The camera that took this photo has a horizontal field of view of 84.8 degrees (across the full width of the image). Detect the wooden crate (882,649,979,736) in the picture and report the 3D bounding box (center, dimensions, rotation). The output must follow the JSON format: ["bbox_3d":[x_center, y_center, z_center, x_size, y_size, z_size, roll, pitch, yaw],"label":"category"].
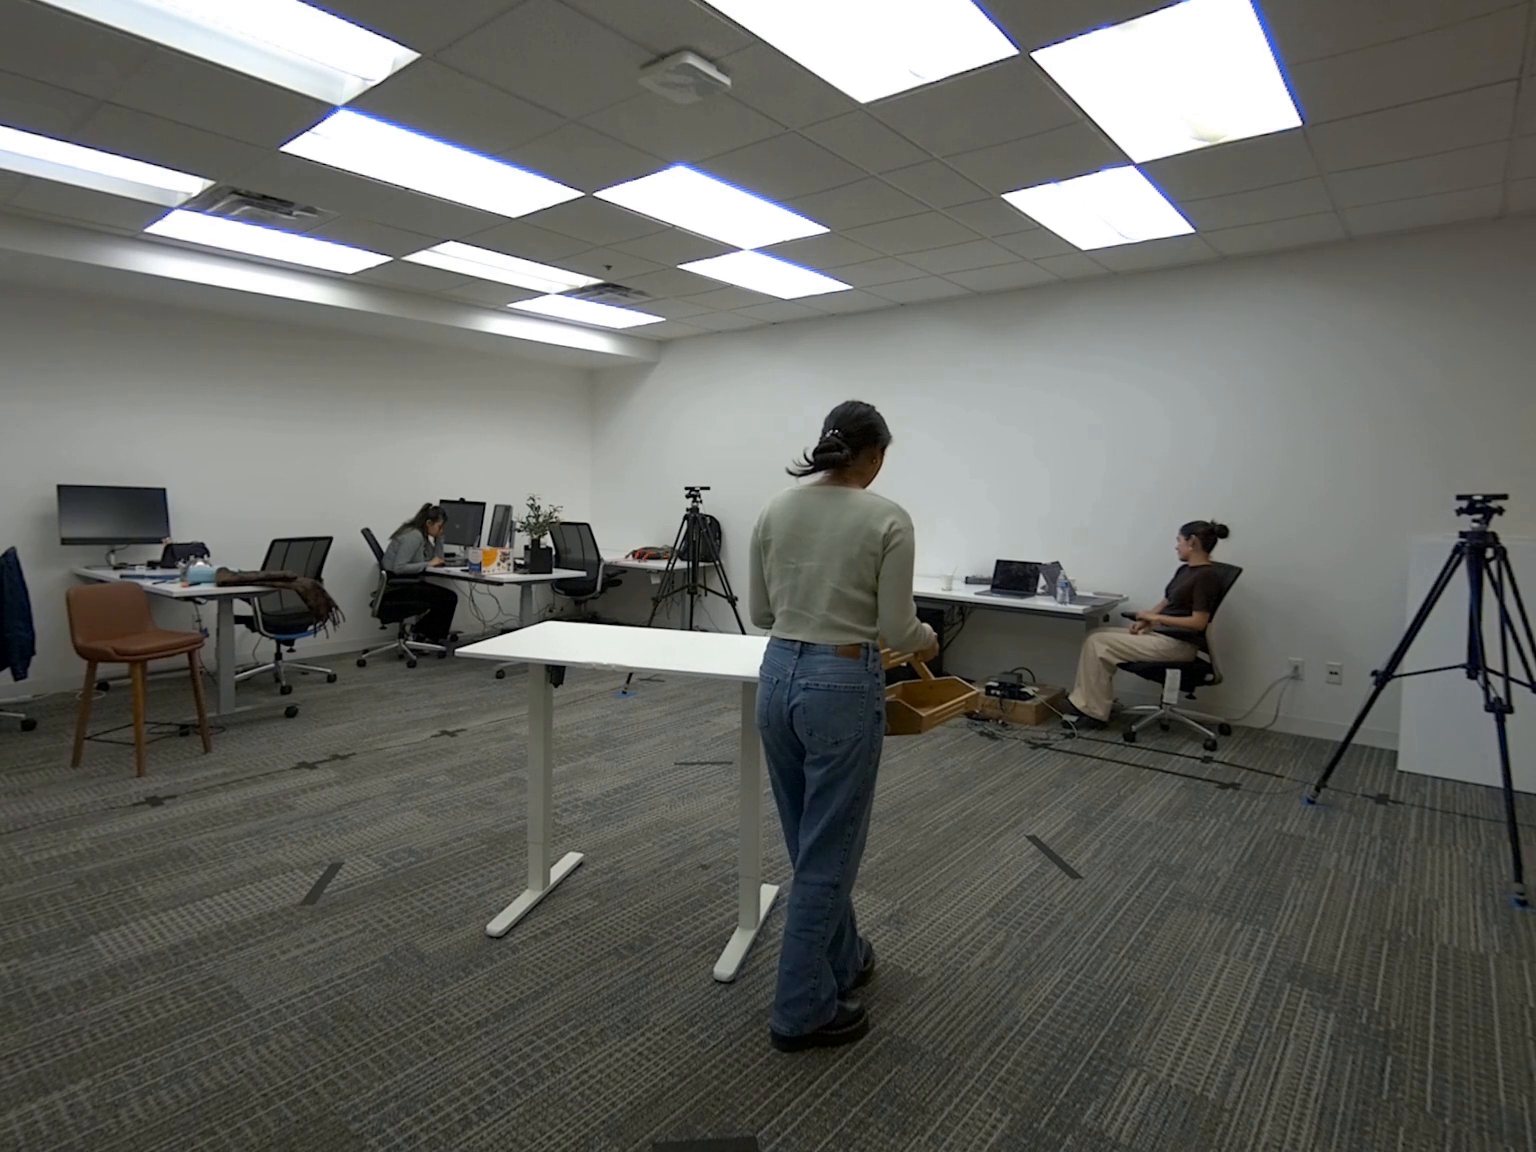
[{"bbox_3d":[0.361,0.268,2.359,0.309,0.275,0.316,-16,-4,43],"label":"wooden crate"}]
